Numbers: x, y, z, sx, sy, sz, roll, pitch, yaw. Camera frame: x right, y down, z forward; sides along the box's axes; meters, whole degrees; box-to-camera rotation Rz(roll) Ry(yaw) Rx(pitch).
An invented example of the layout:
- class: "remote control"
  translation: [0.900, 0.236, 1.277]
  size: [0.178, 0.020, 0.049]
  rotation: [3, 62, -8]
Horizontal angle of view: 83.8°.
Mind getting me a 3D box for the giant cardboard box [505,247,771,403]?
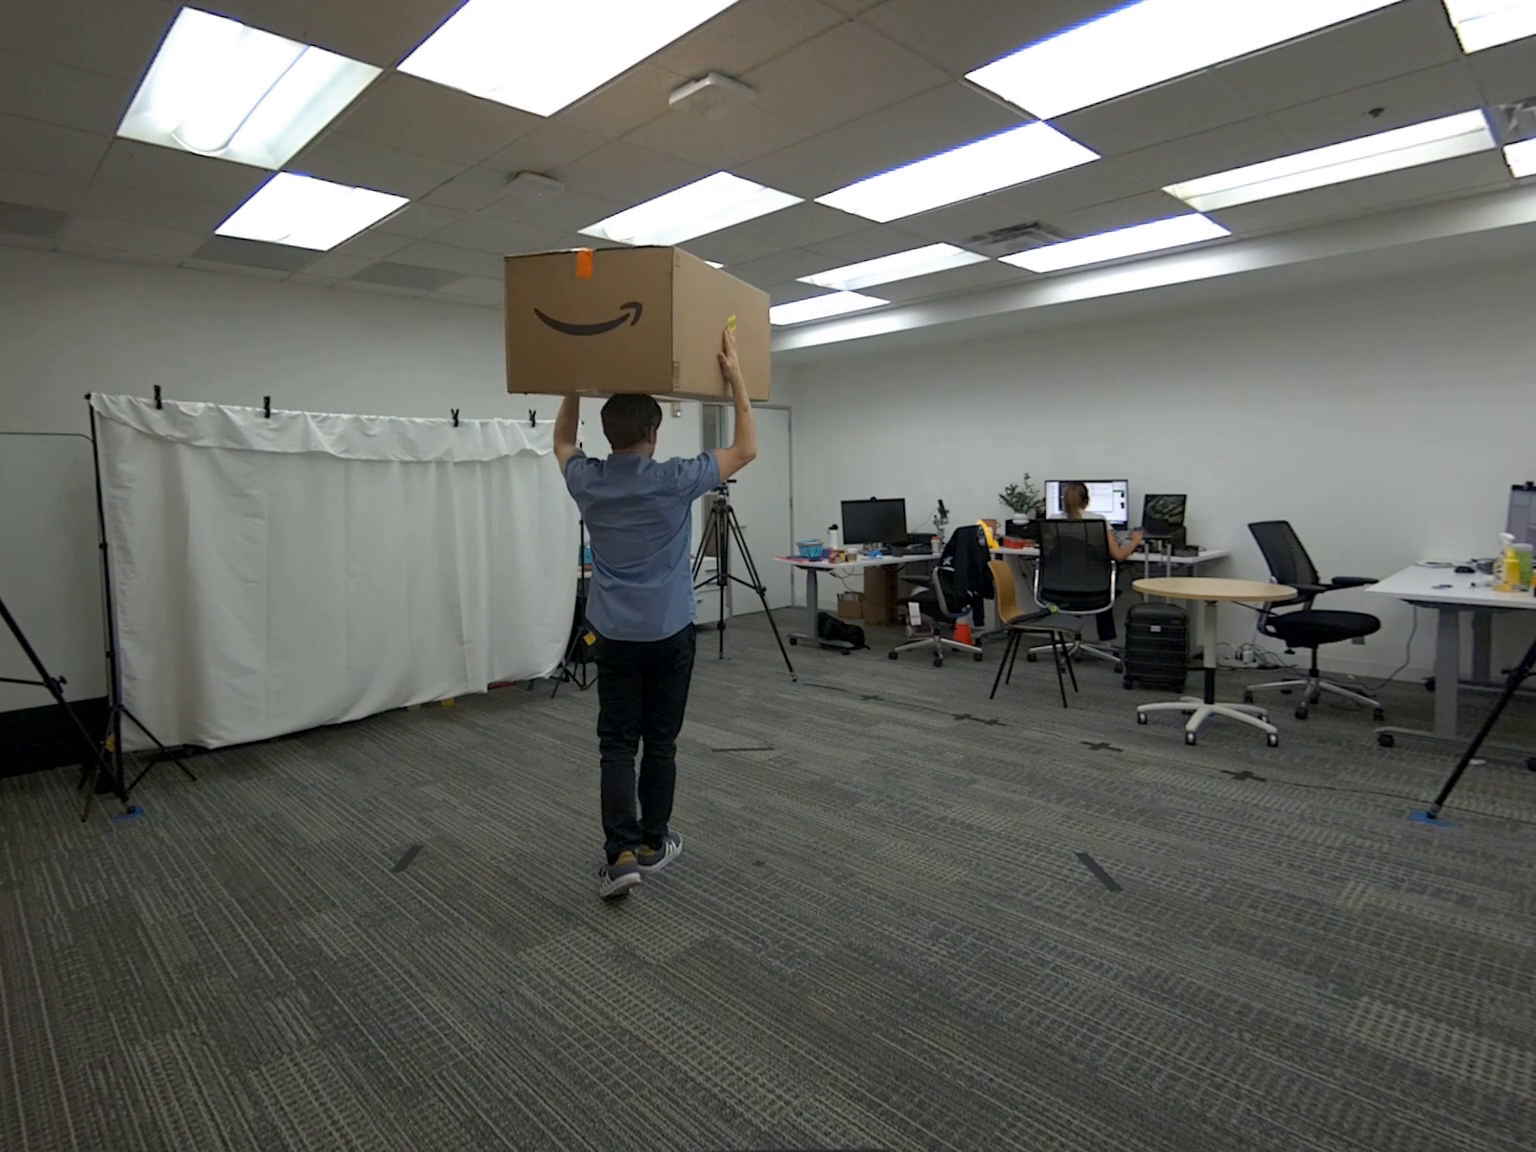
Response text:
- class: "giant cardboard box"
  translation: [-0.407, -0.855, 3.061]
  size: [0.588, 0.423, 1.015]
  rotation: [4, 10, 17]
